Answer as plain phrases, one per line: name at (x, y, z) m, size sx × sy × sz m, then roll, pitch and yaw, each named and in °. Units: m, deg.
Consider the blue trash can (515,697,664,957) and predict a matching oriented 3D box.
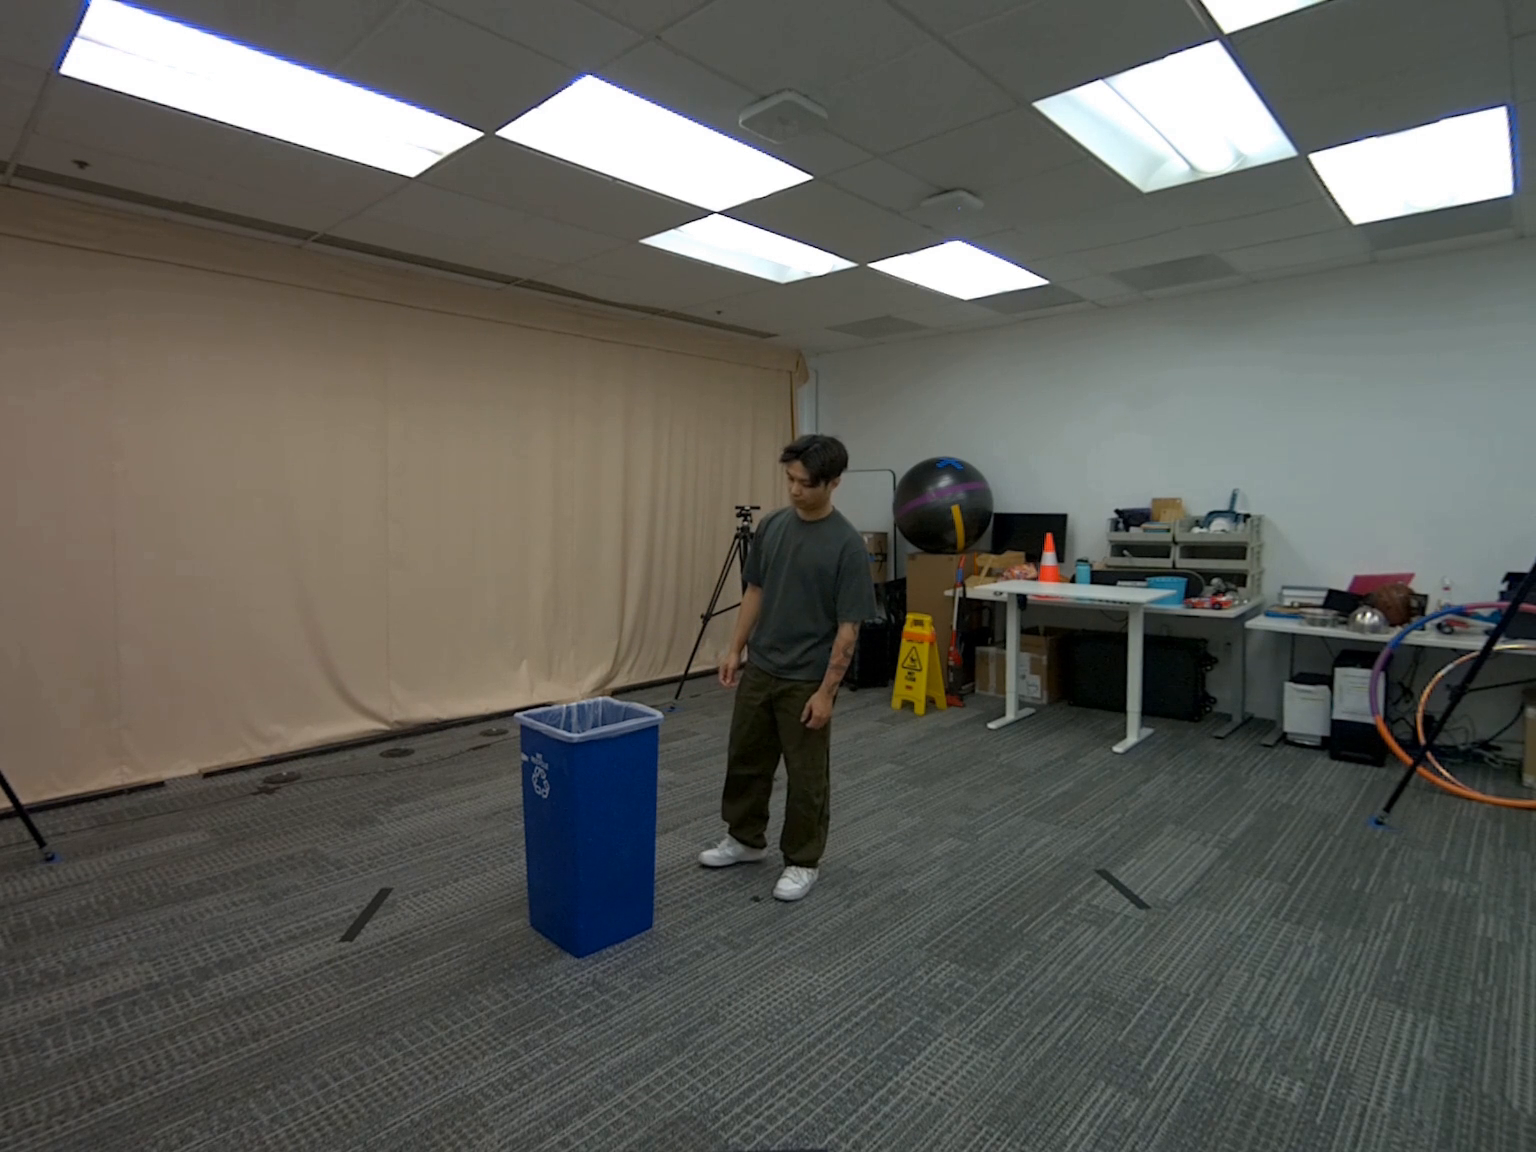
blue trash can at (-0.583, 0.807, 2.775) m, size 0.366 × 0.712 × 0.386 m, roll -4°, pitch 5°, yaw -45°
